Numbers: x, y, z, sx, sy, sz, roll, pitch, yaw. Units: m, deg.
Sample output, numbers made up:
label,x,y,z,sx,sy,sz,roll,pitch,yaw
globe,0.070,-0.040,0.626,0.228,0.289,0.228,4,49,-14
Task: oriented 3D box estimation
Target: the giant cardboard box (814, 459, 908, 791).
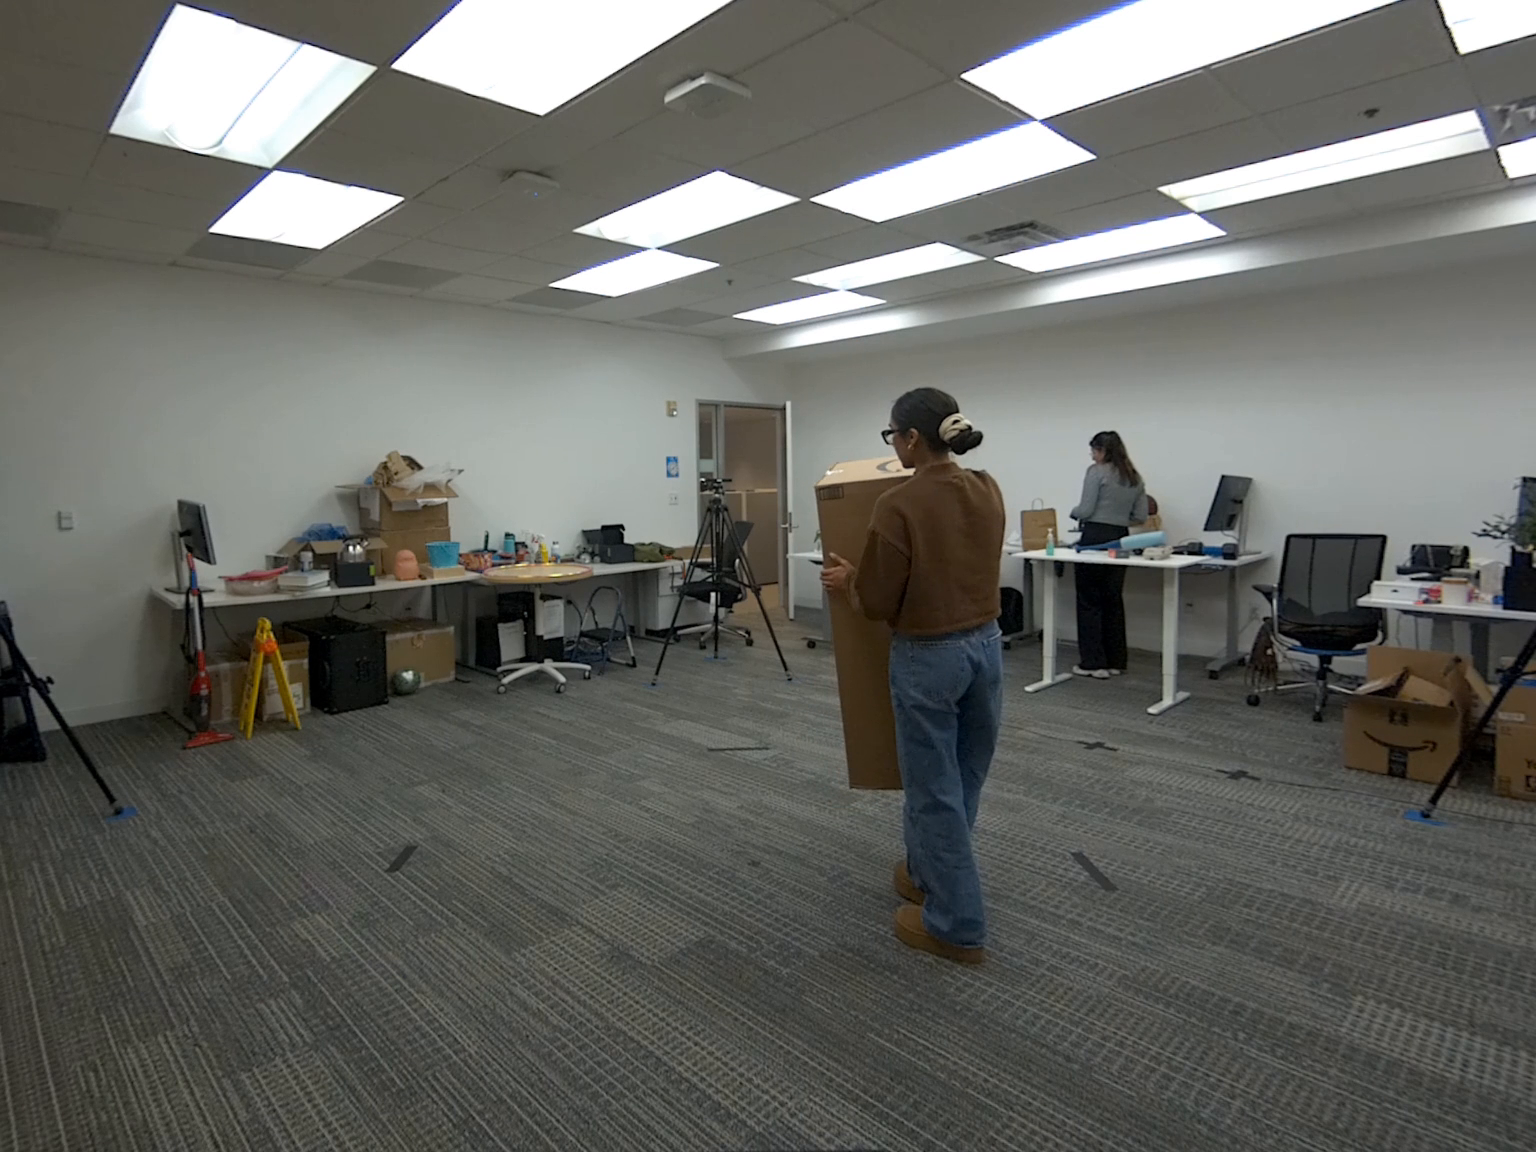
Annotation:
label,x,y,z,sx,sy,sz,roll,pitch,yaw
giant cardboard box,0.472,0.134,2.949,0.432,1.016,0.575,-5,10,15
